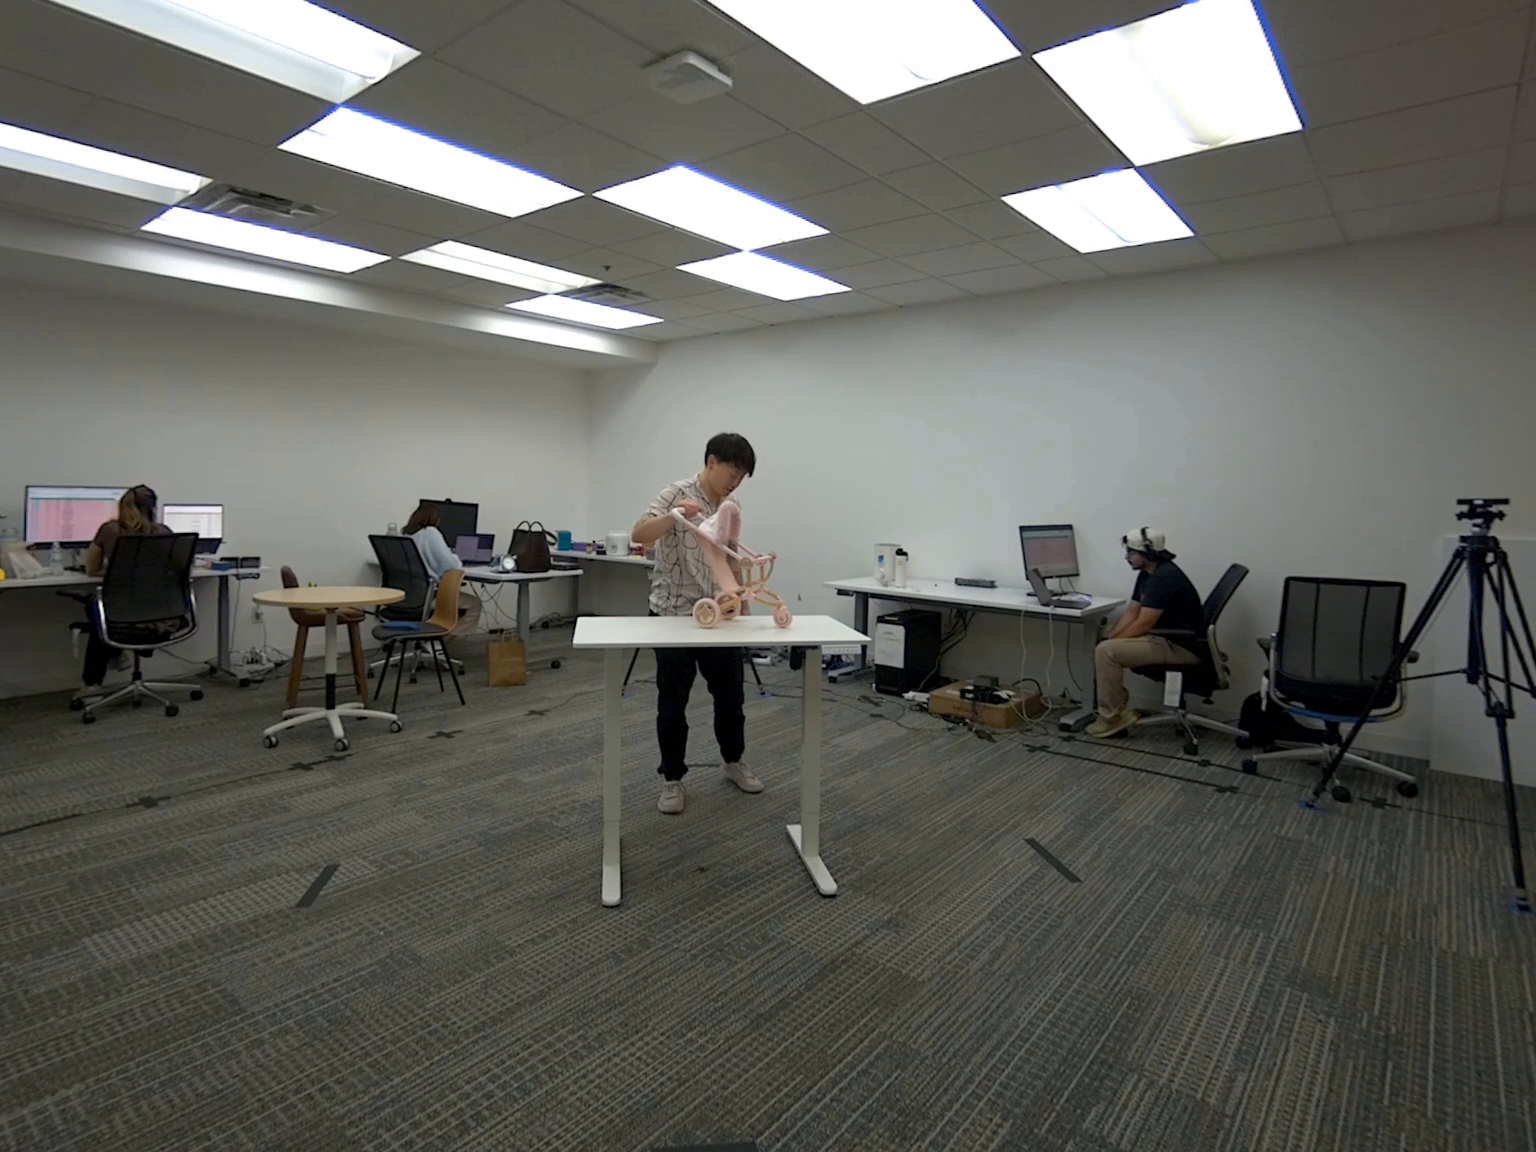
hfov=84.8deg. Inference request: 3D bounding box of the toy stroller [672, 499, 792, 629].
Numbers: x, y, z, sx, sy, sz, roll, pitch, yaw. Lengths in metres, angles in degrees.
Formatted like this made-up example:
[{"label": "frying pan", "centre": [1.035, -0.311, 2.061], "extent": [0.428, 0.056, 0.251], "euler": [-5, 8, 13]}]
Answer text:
[{"label": "toy stroller", "centre": [-0.140, -0.045, 3.188], "extent": [0.347, 0.537, 0.276], "euler": [-14, -3, 22]}]
